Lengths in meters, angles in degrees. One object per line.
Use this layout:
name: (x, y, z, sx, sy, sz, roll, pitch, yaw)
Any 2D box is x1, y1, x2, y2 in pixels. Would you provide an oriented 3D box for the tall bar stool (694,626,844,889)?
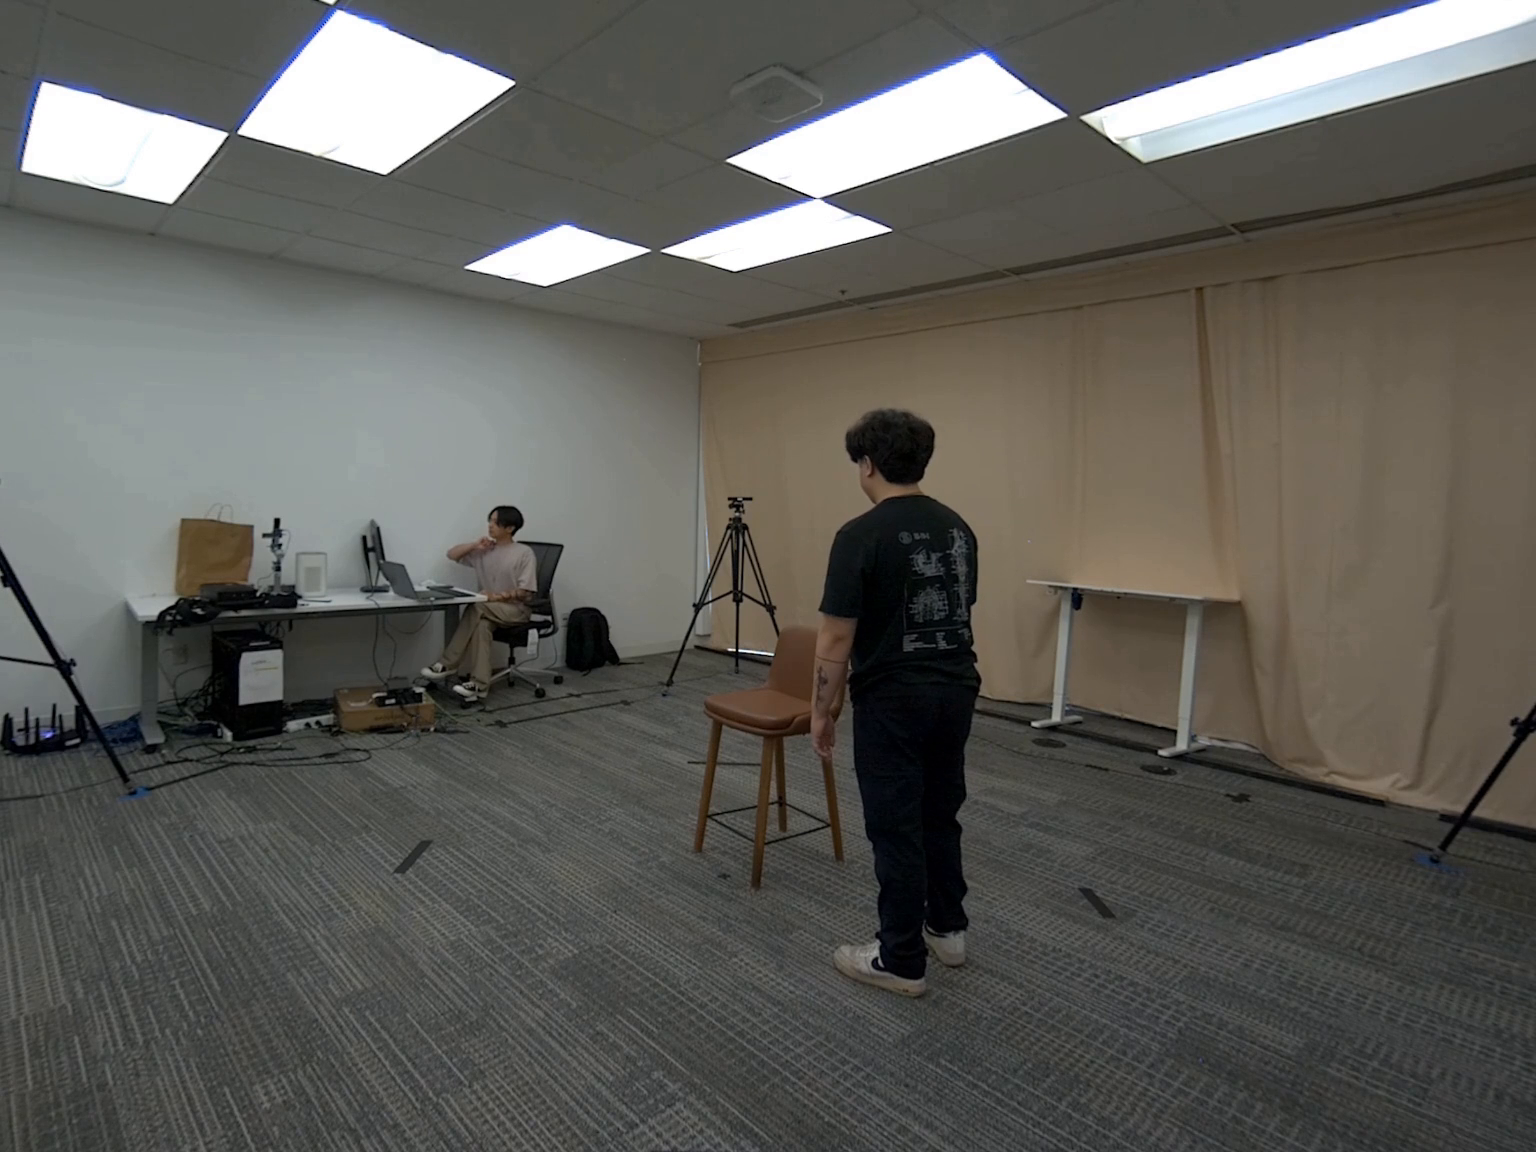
tall bar stool: (0.013, 0.662, 3.271, 0.457, 0.889, 0.467, 1, 2, -37)
